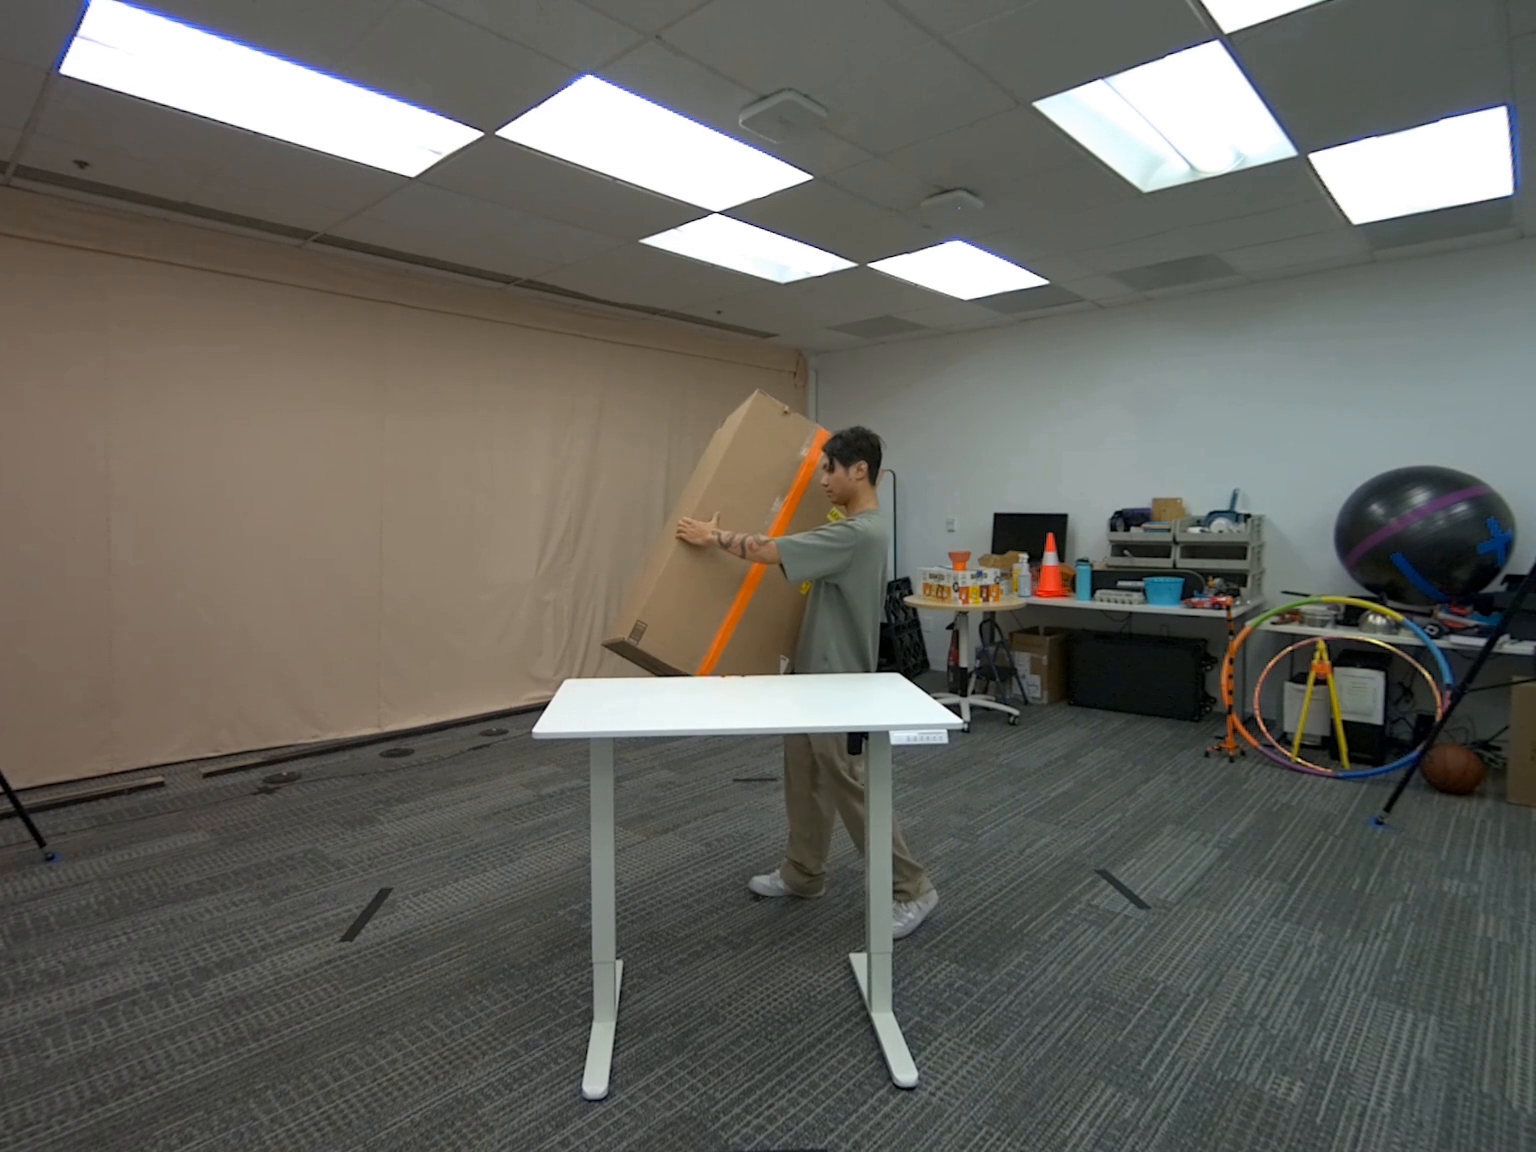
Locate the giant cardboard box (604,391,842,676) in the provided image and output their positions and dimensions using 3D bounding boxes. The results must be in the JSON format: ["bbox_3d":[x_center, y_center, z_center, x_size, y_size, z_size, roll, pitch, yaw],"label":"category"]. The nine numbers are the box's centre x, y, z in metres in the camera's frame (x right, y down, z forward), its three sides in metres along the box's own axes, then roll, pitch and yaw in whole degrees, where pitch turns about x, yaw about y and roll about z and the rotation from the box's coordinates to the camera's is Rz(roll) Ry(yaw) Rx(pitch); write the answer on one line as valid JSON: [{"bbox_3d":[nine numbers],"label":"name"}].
[{"bbox_3d":[-0.085,-0.064,3.115,0.568,1.027,0.433,30,-17,-14],"label":"giant cardboard box"}]
